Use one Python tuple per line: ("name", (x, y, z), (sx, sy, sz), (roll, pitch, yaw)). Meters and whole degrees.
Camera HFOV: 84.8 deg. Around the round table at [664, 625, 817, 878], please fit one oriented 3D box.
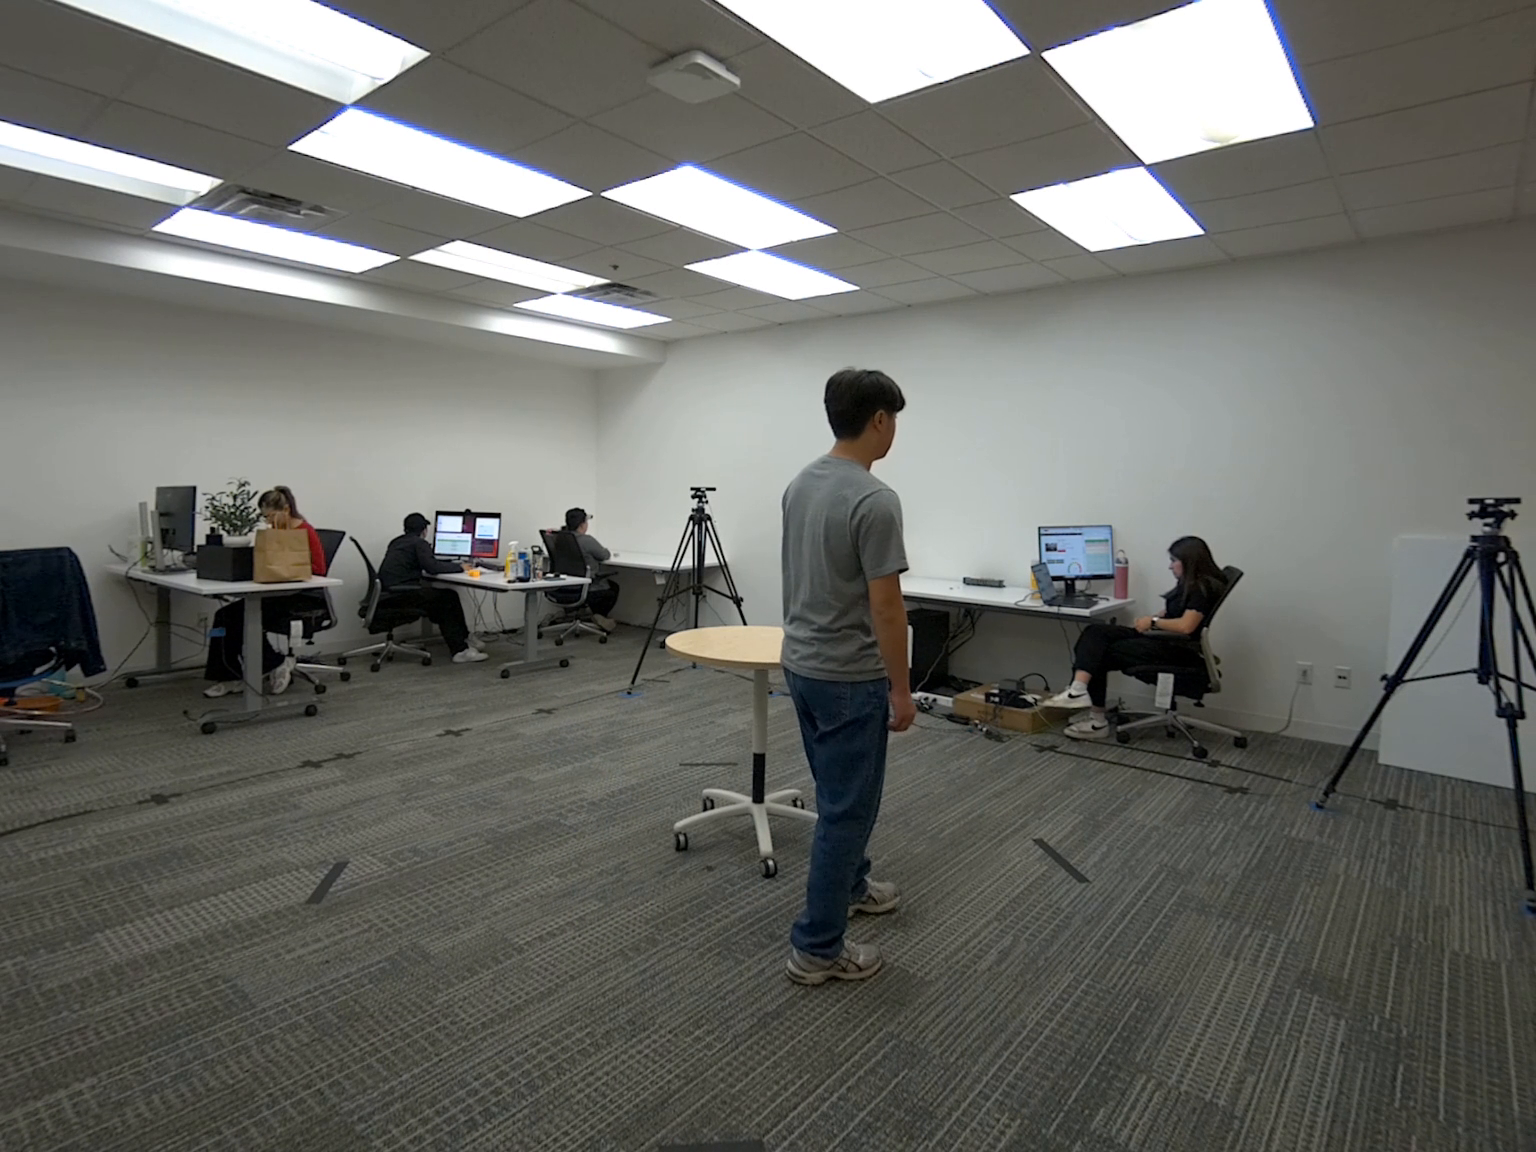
("round table", (-0.045, 0.652, 3.382), (0.763, 0.792, 0.767), (1, 4, -2))
